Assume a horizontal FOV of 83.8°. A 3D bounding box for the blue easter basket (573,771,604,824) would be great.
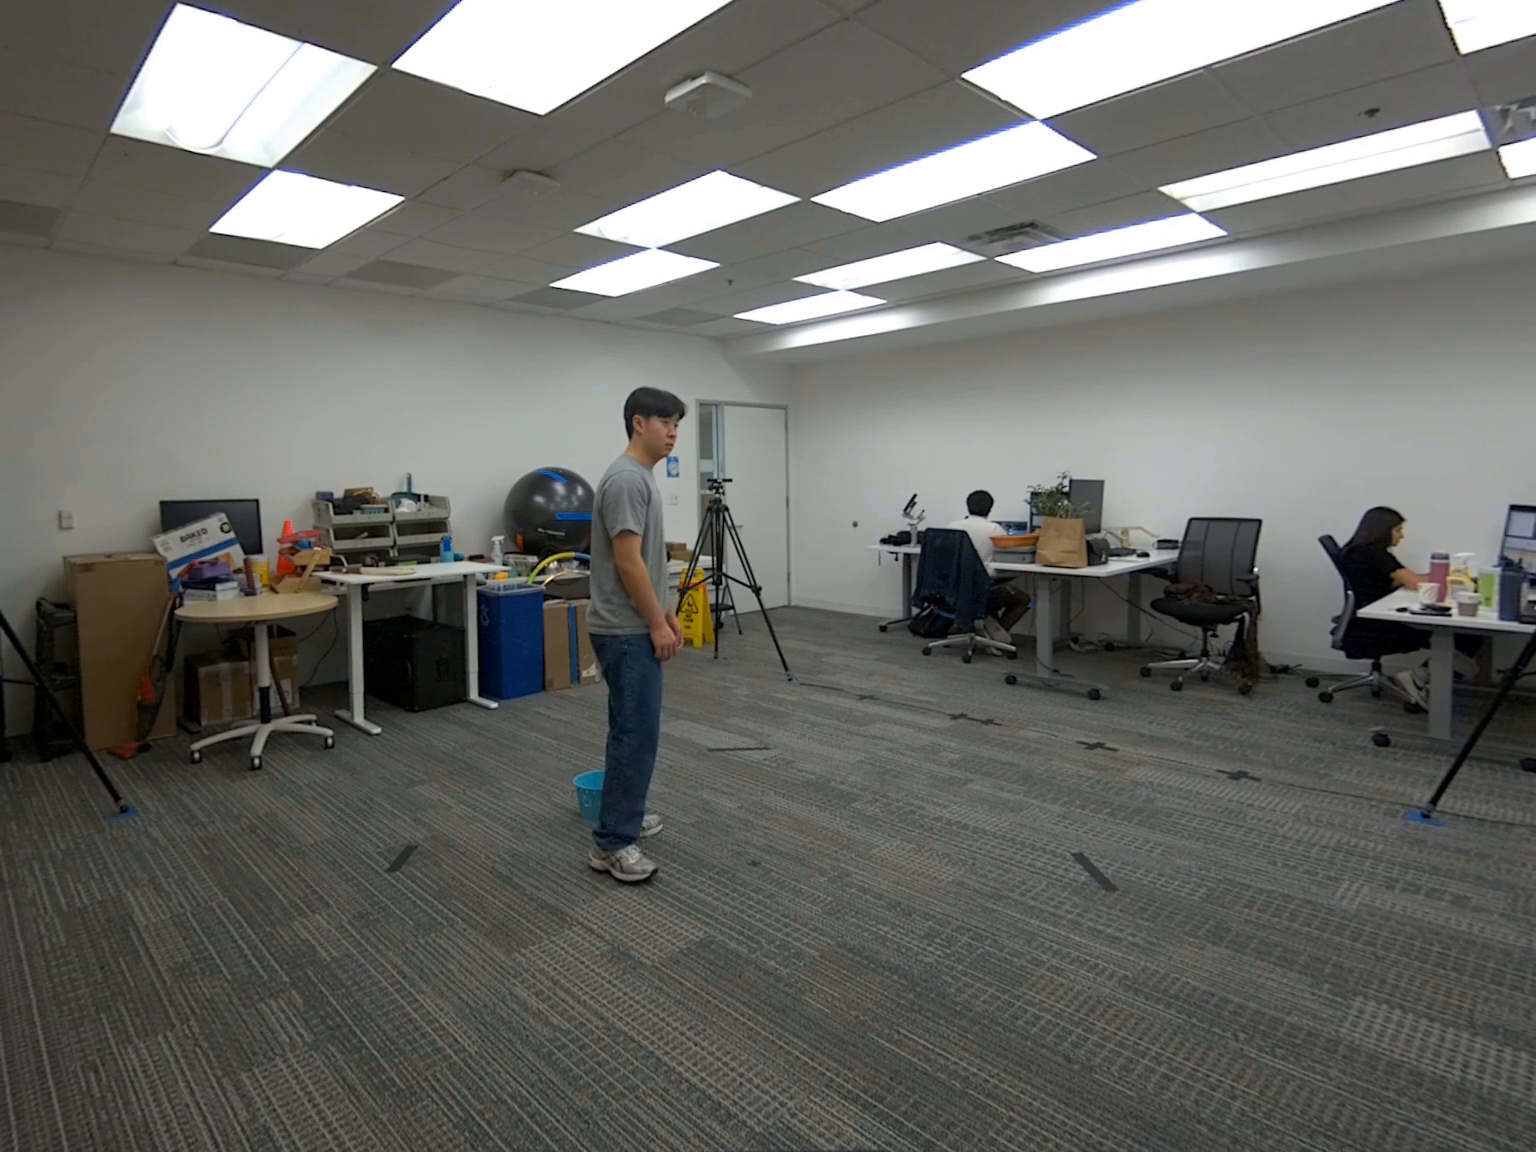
[{"bbox_3d":[-0.693,0.923,3.591,0.243,0.155,0.245,0,6,-2],"label":"blue easter basket"}]
